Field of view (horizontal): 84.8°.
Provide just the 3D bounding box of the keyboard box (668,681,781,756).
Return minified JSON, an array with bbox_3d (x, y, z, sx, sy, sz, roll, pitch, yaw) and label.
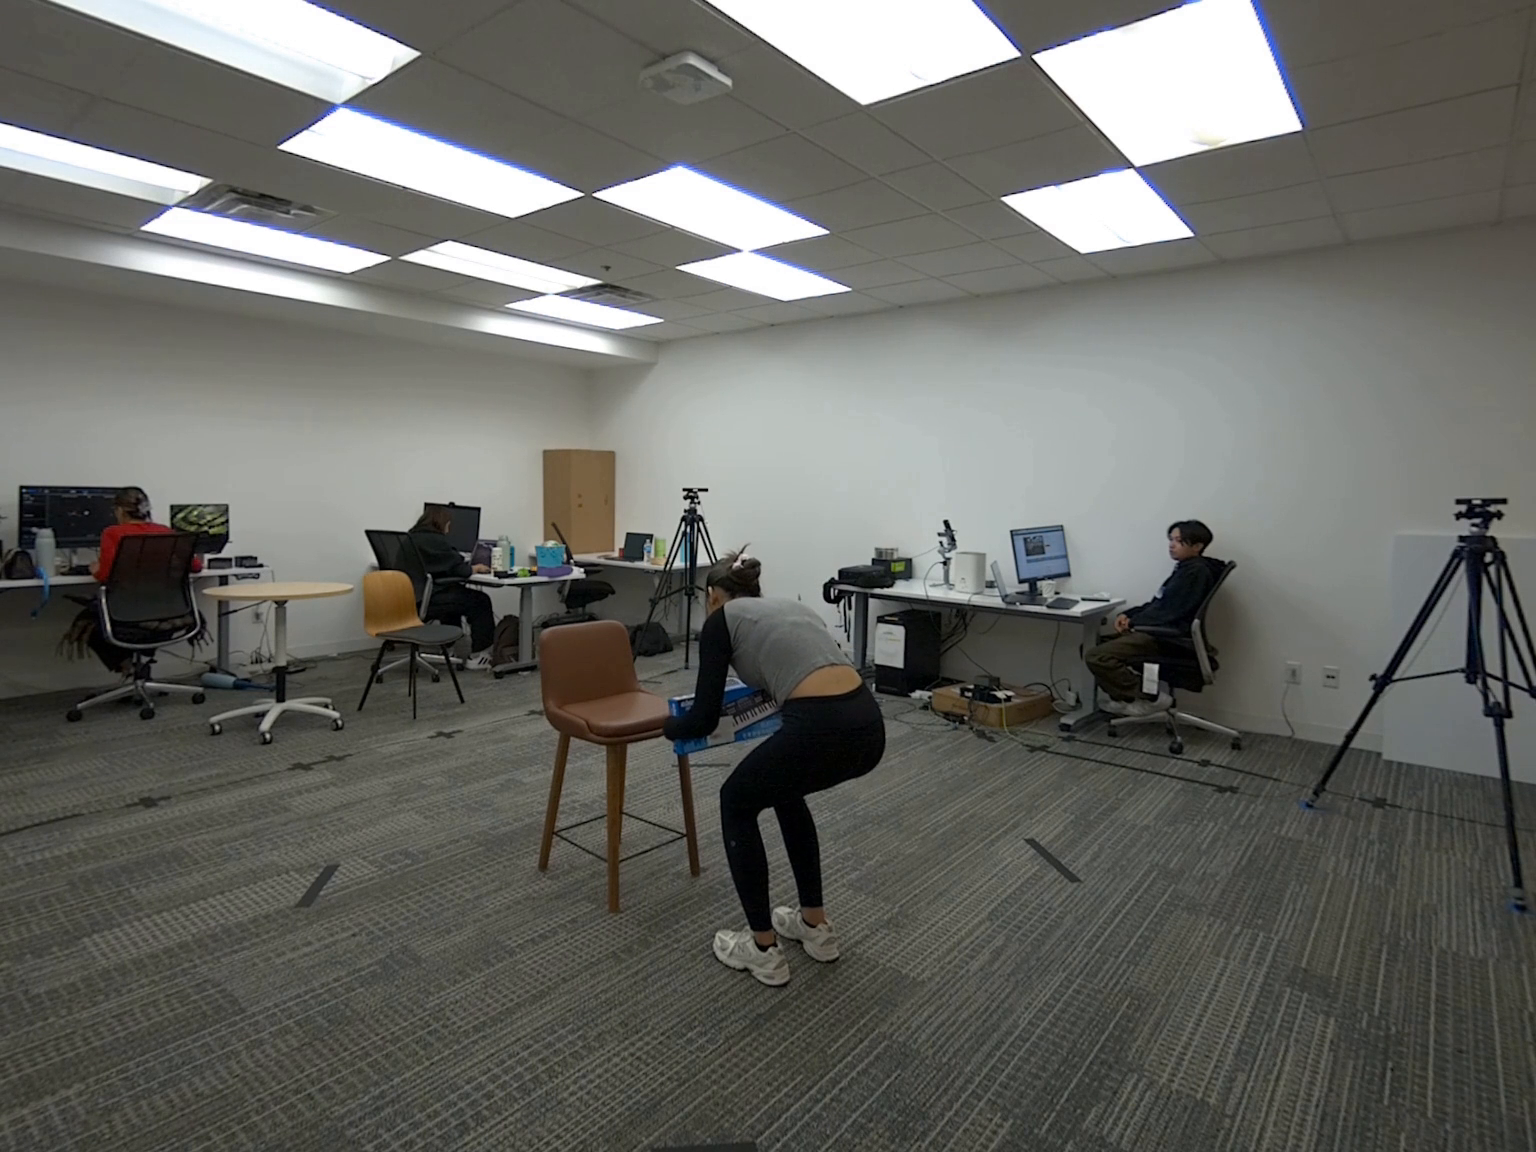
[{"bbox_3d":[-0.121,0.452,2.778,0.426,0.177,0.060,-7,-4,-31],"label":"keyboard box"}]
